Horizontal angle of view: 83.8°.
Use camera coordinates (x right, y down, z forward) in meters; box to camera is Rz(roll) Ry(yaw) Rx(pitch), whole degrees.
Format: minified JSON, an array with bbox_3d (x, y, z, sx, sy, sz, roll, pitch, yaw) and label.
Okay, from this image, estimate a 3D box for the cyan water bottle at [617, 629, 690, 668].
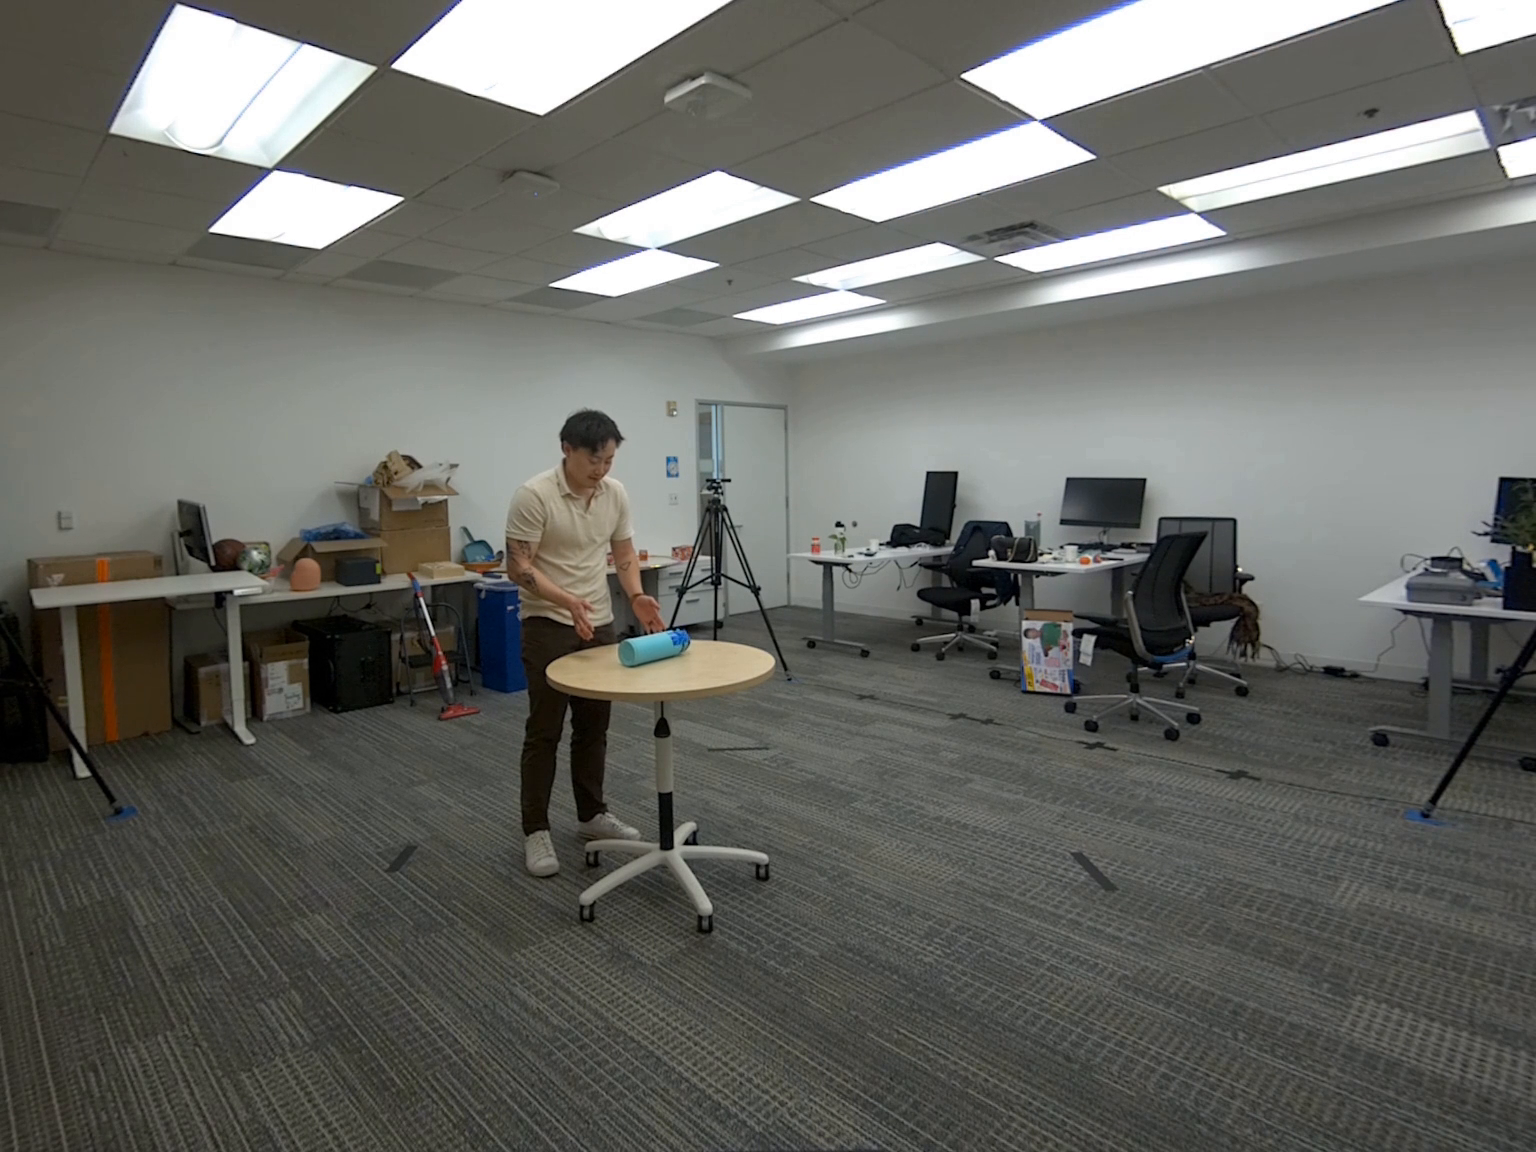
[{"bbox_3d":[-0.382,0.240,2.930,0.095,0.092,0.276,3,8,40],"label":"cyan water bottle"}]
